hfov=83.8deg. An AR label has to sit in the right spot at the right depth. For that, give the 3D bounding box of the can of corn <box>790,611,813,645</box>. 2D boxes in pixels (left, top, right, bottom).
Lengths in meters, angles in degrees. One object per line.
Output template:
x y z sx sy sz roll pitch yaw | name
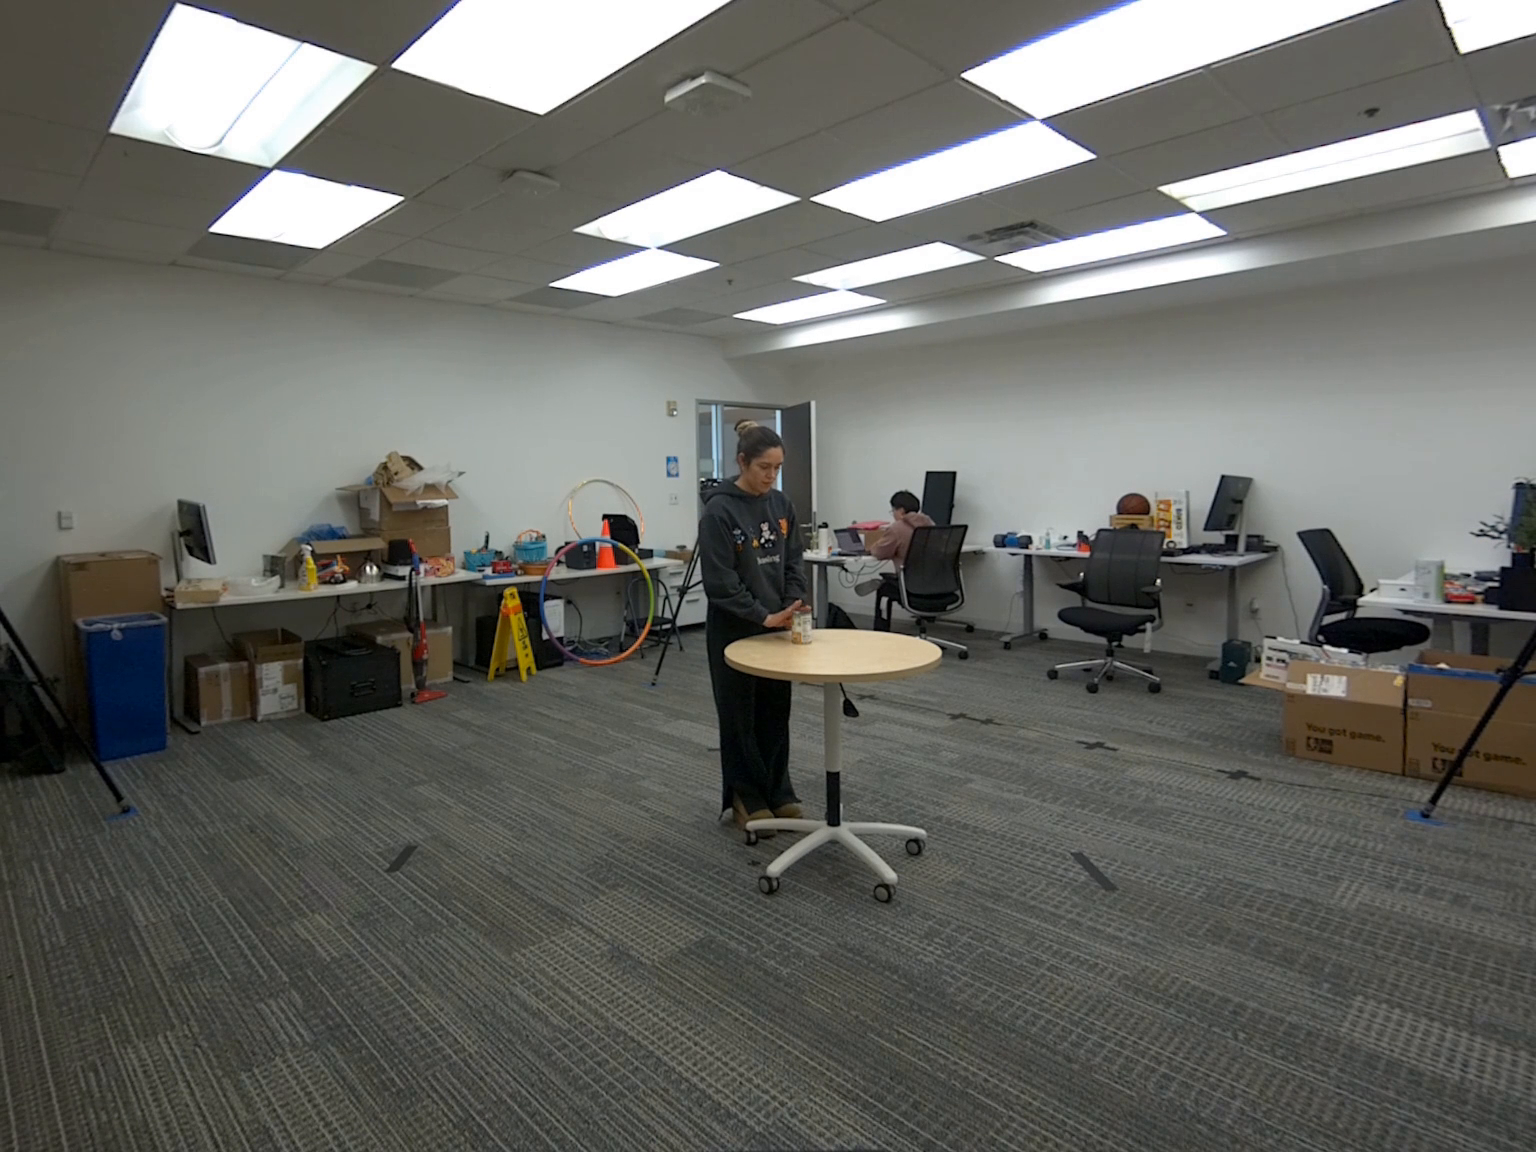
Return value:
0.122 0.197 3.167 0.074 0.111 0.074 -1 4 -2 | can of corn
